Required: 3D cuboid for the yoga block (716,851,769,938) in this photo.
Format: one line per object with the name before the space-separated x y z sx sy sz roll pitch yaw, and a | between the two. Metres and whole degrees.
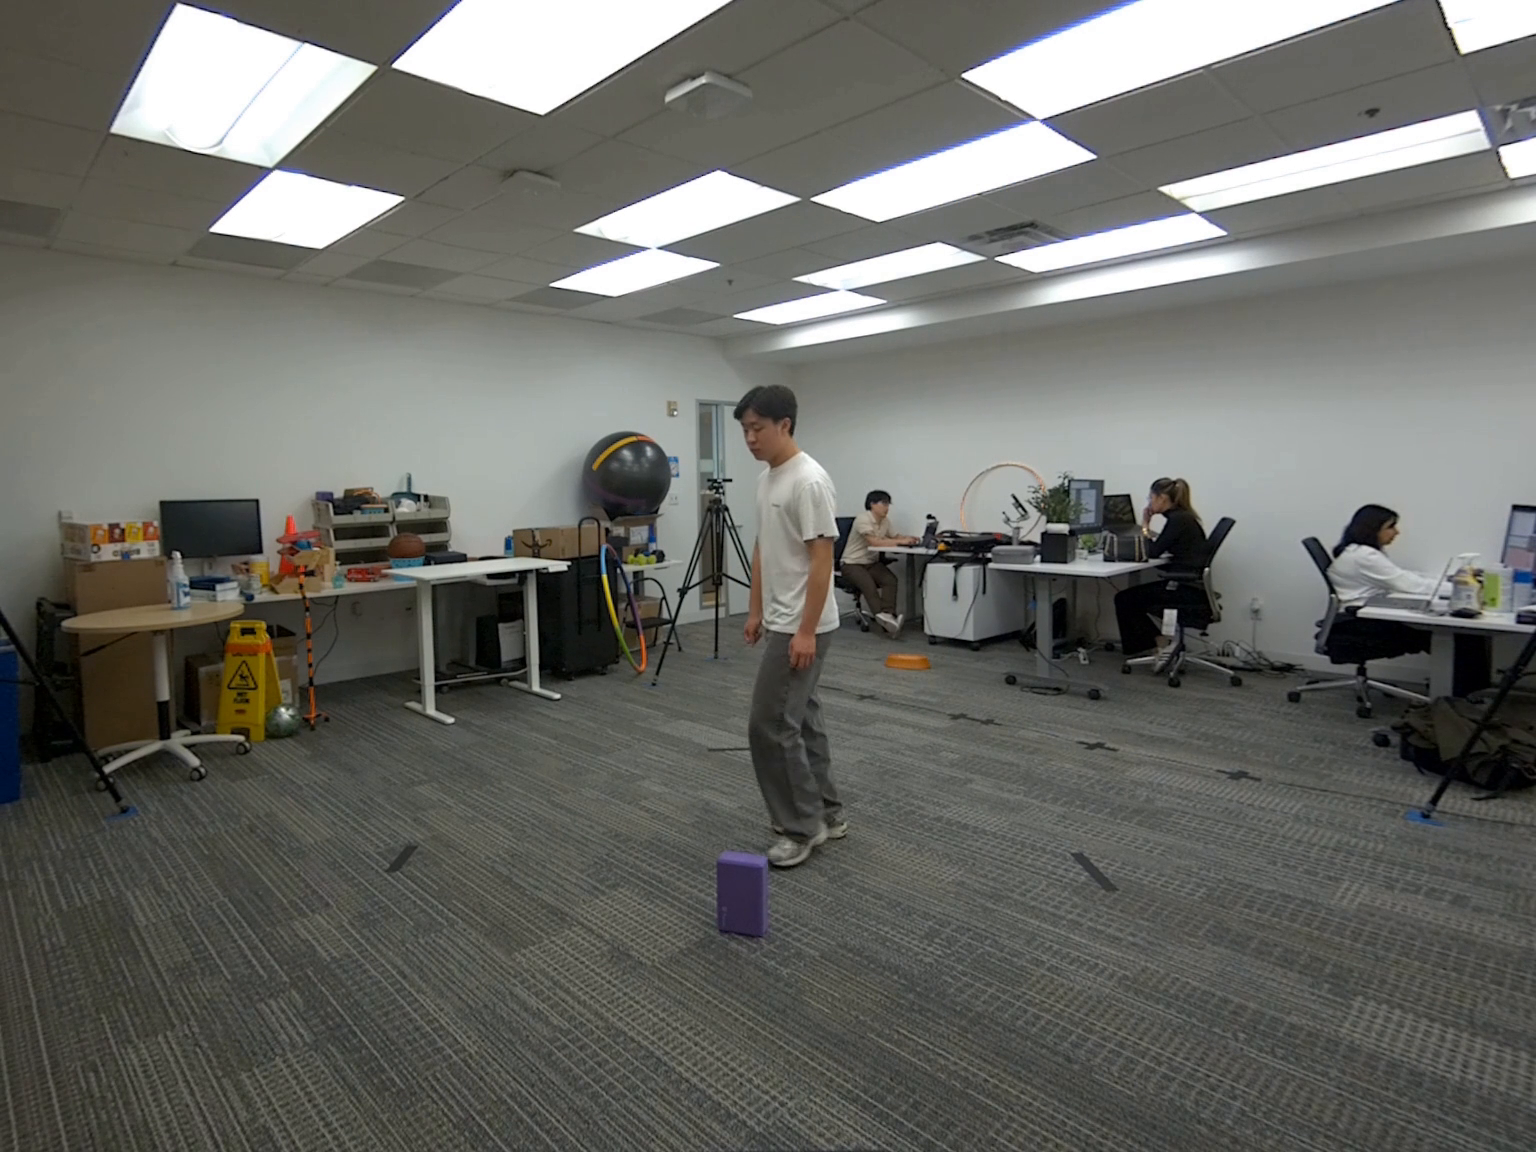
yoga block | -0.075 0.986 2.650 0.151 0.228 0.075 0 5 16
